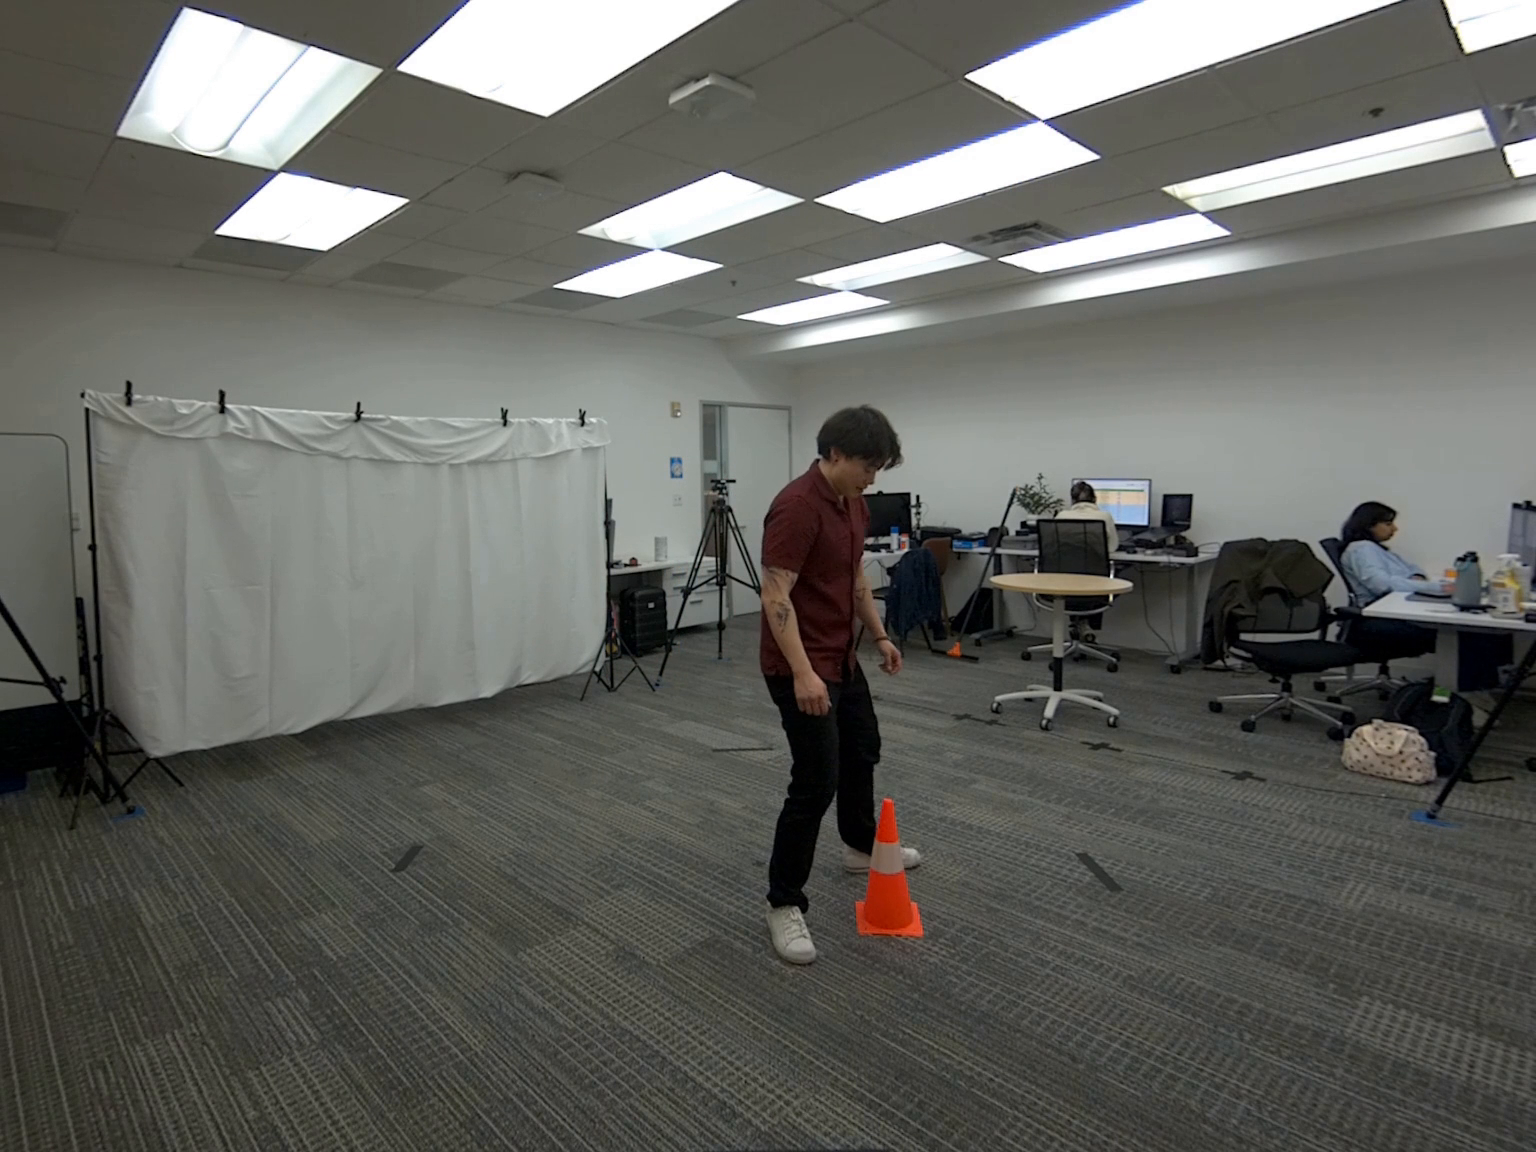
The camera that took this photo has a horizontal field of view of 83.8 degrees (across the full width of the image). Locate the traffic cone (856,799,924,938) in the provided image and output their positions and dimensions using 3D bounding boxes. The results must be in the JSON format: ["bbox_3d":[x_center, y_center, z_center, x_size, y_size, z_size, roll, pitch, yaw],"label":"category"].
[{"bbox_3d":[0.383,0.904,2.698,0.206,0.382,0.203,0,4,4],"label":"traffic cone"}]
